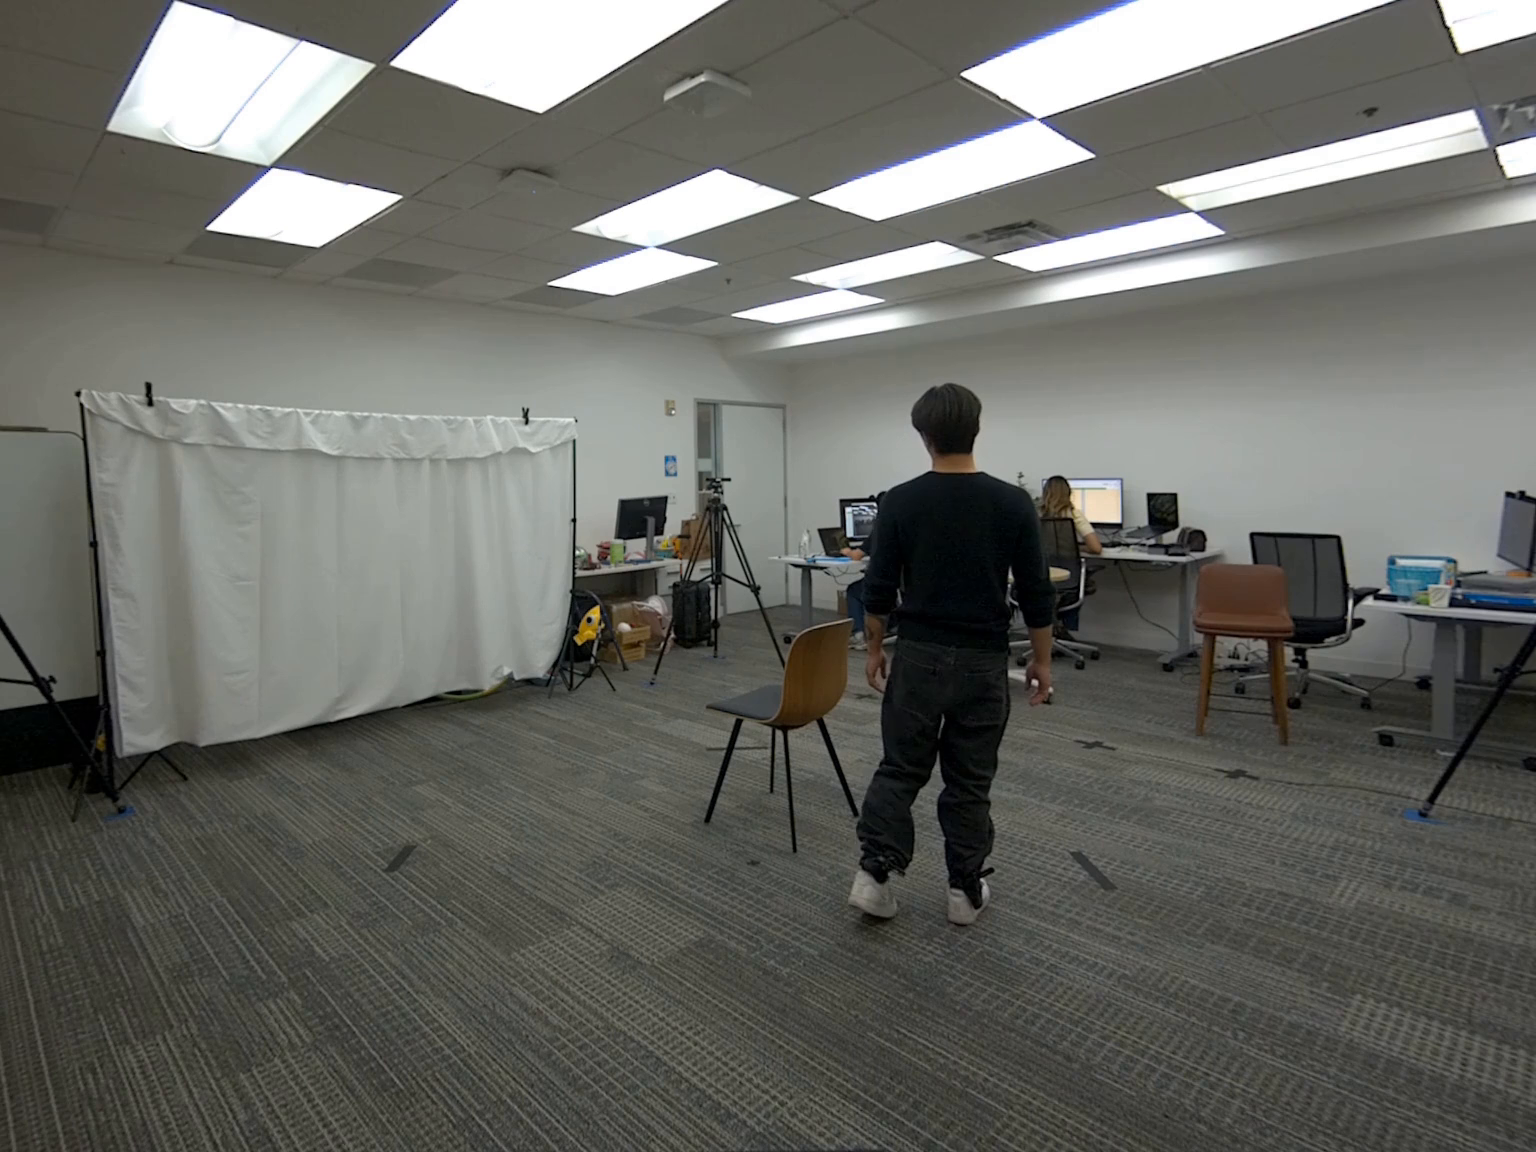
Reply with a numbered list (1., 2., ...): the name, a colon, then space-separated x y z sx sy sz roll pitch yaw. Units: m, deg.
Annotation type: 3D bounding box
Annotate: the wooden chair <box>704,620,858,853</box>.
1. wooden chair: 0.046 0.570 3.463 0.540 0.872 0.466 8 9 38
